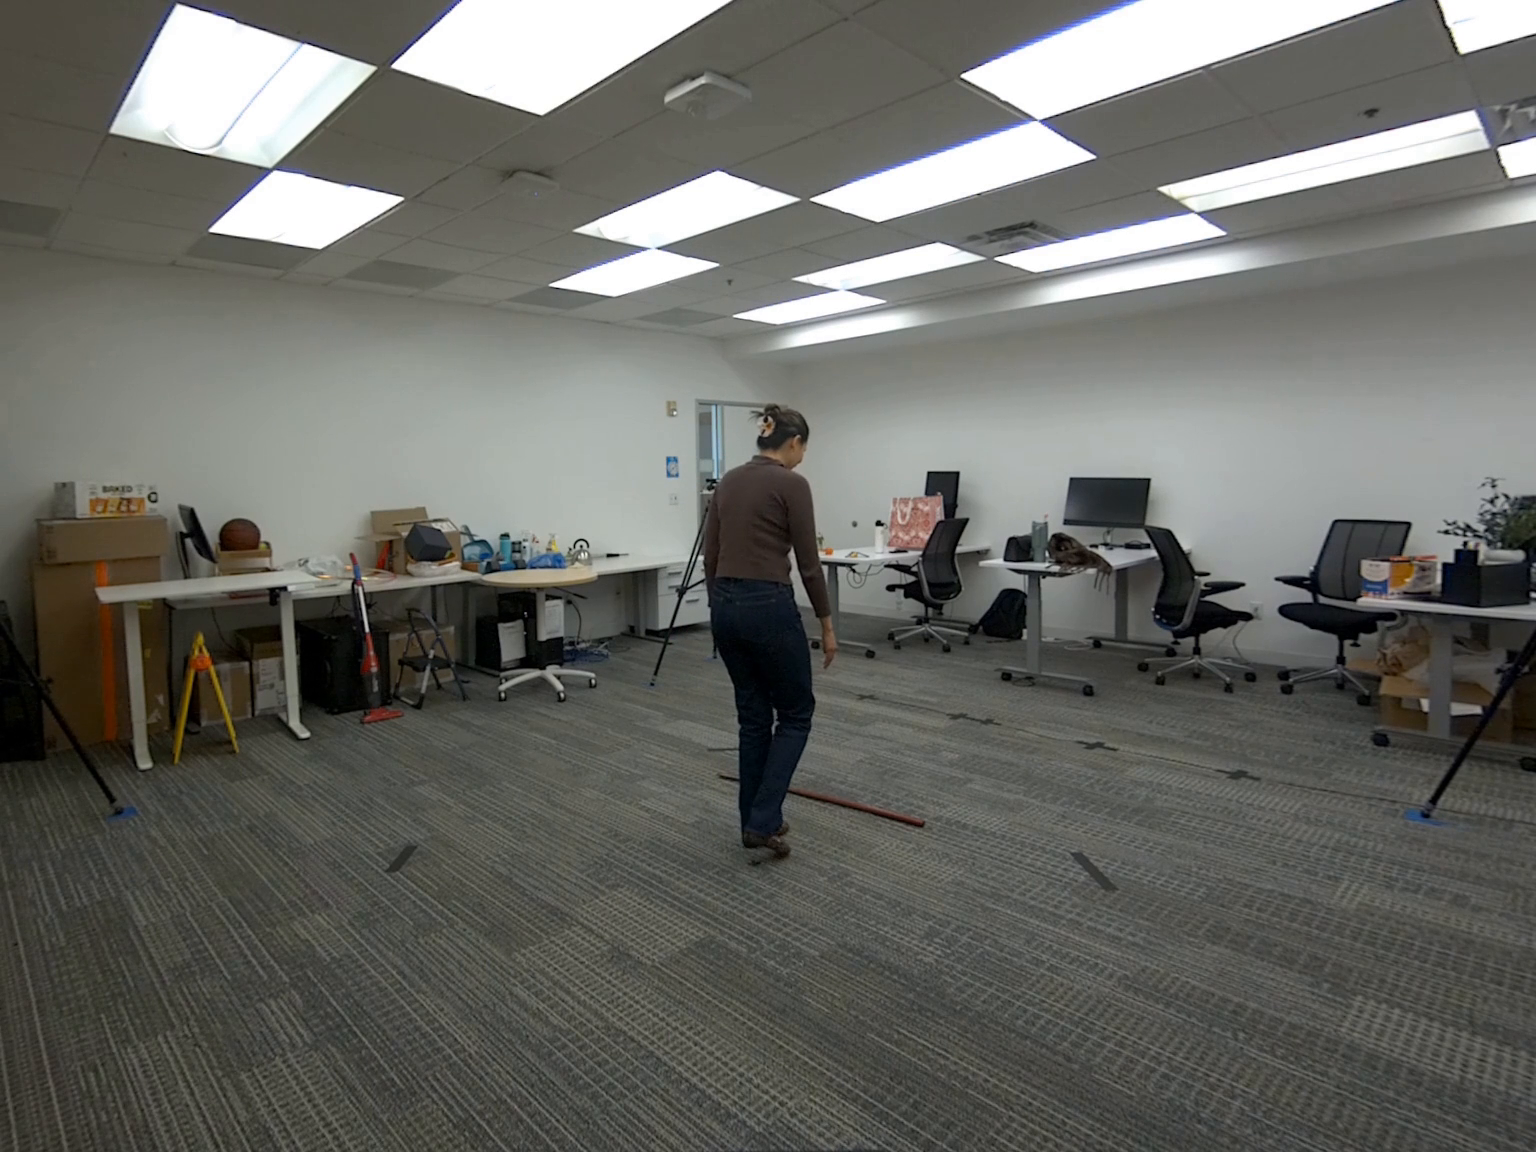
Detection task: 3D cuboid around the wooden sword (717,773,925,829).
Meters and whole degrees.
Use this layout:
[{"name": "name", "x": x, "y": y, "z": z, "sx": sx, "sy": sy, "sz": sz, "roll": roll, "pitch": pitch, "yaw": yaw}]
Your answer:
[{"name": "wooden sword", "x": 0.203, "y": 0.949, "z": 3.701, "sx": 1.054, "sy": 0.024, "sz": 0.050, "roll": 3, "pitch": 2, "yaw": 36}]
